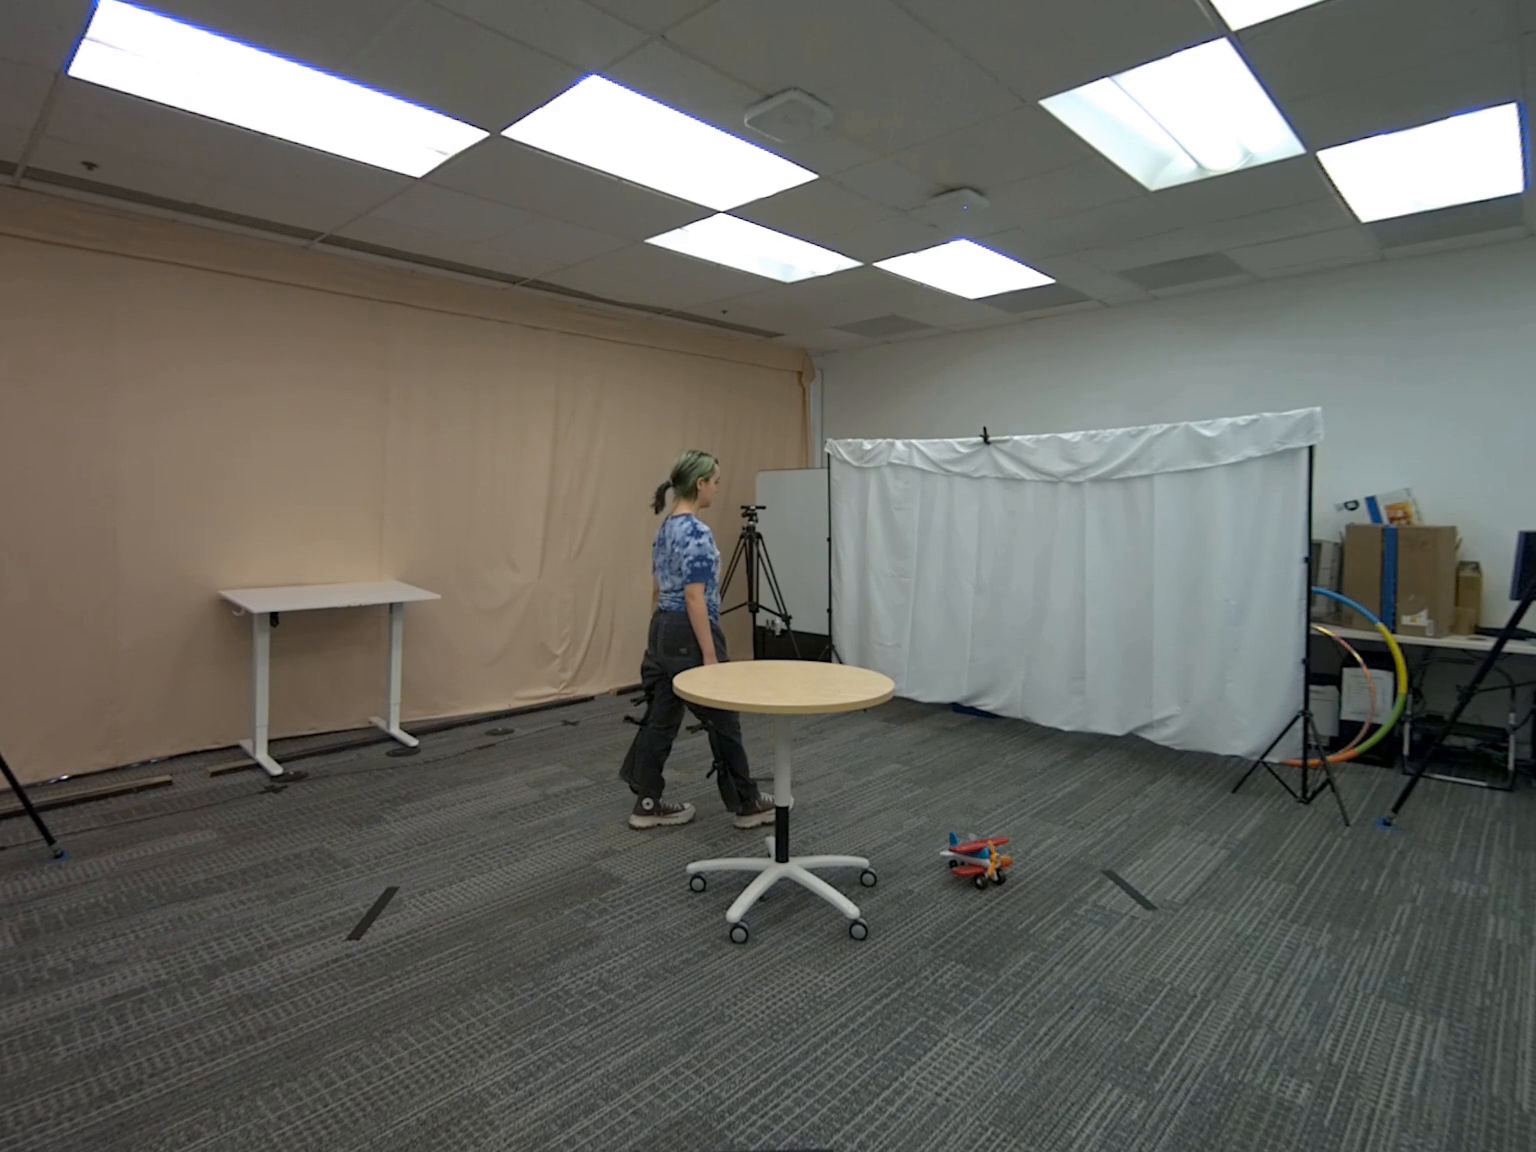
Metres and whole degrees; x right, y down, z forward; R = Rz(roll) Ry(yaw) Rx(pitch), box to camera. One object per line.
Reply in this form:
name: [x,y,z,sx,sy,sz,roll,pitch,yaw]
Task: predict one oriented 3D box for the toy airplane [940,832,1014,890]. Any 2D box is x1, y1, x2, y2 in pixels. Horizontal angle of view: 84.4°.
toy airplane: [0.759,1.054,3.139,0.267,0.156,0.244,4,5,35]
